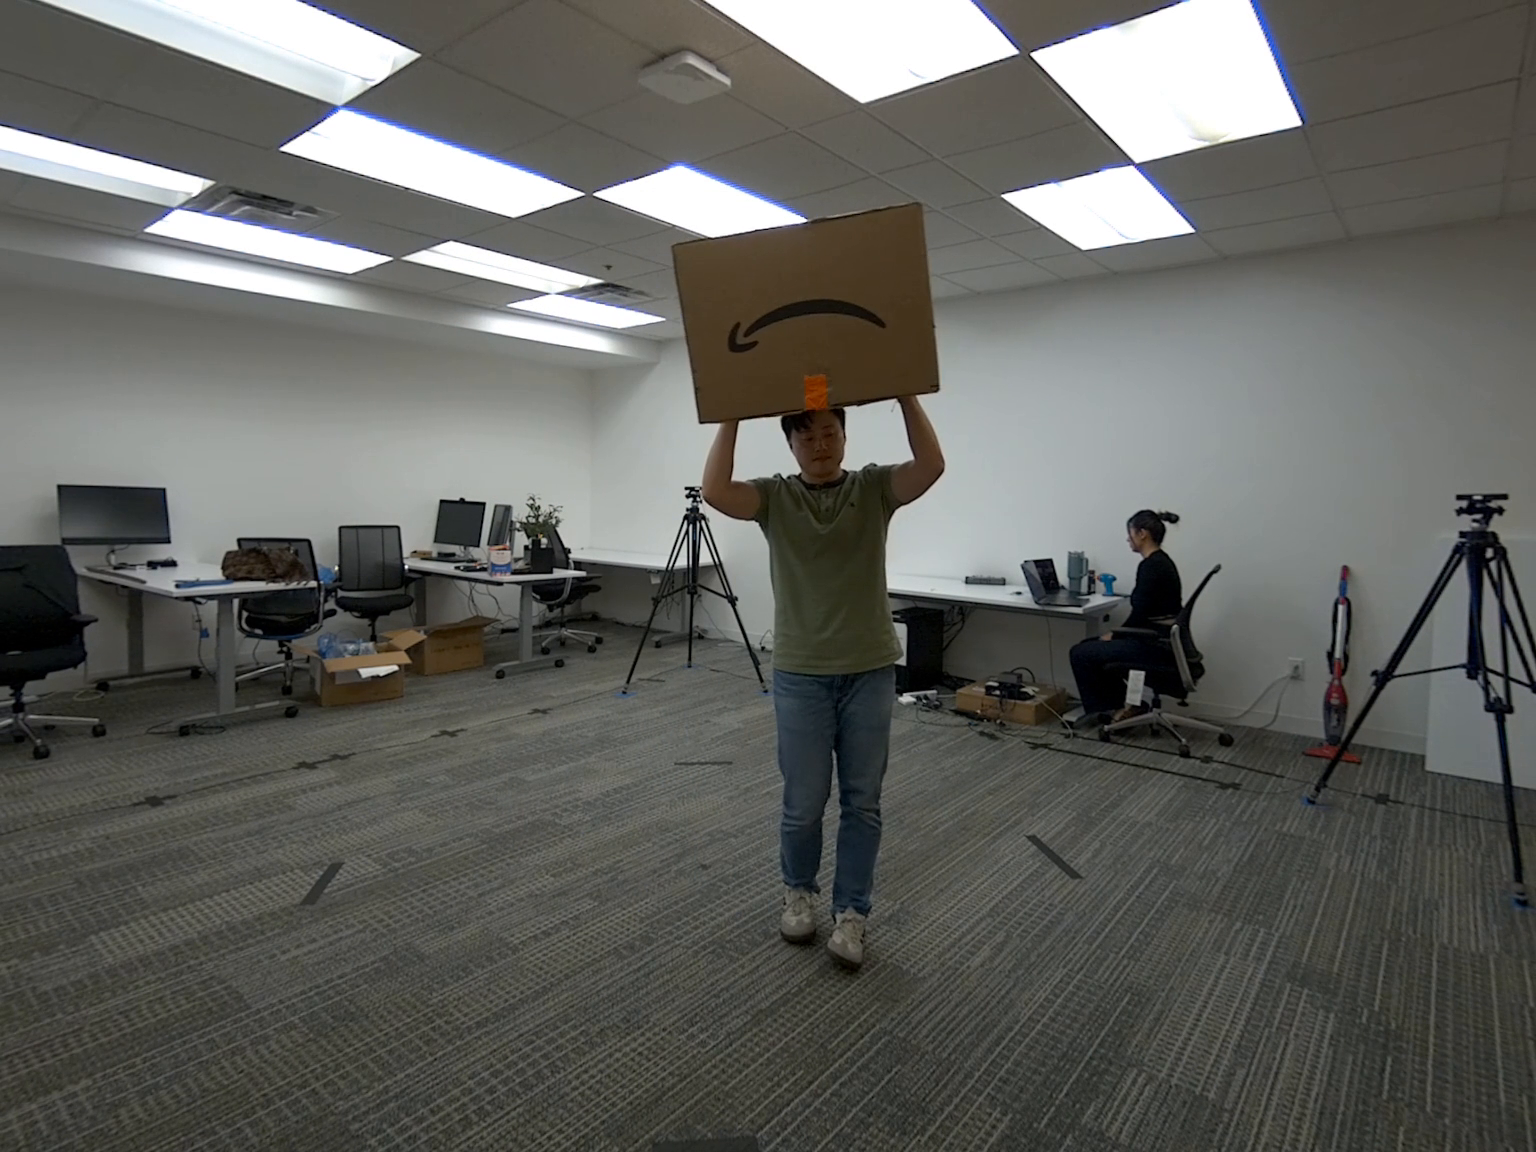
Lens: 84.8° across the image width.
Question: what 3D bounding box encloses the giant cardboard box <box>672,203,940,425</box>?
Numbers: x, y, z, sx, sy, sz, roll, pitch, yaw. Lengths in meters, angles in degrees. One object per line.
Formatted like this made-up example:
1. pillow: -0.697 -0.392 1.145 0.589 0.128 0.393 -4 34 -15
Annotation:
1. giant cardboard box: 0.104 -0.764 2.454 0.582 0.418 1.038 -7 19 6
